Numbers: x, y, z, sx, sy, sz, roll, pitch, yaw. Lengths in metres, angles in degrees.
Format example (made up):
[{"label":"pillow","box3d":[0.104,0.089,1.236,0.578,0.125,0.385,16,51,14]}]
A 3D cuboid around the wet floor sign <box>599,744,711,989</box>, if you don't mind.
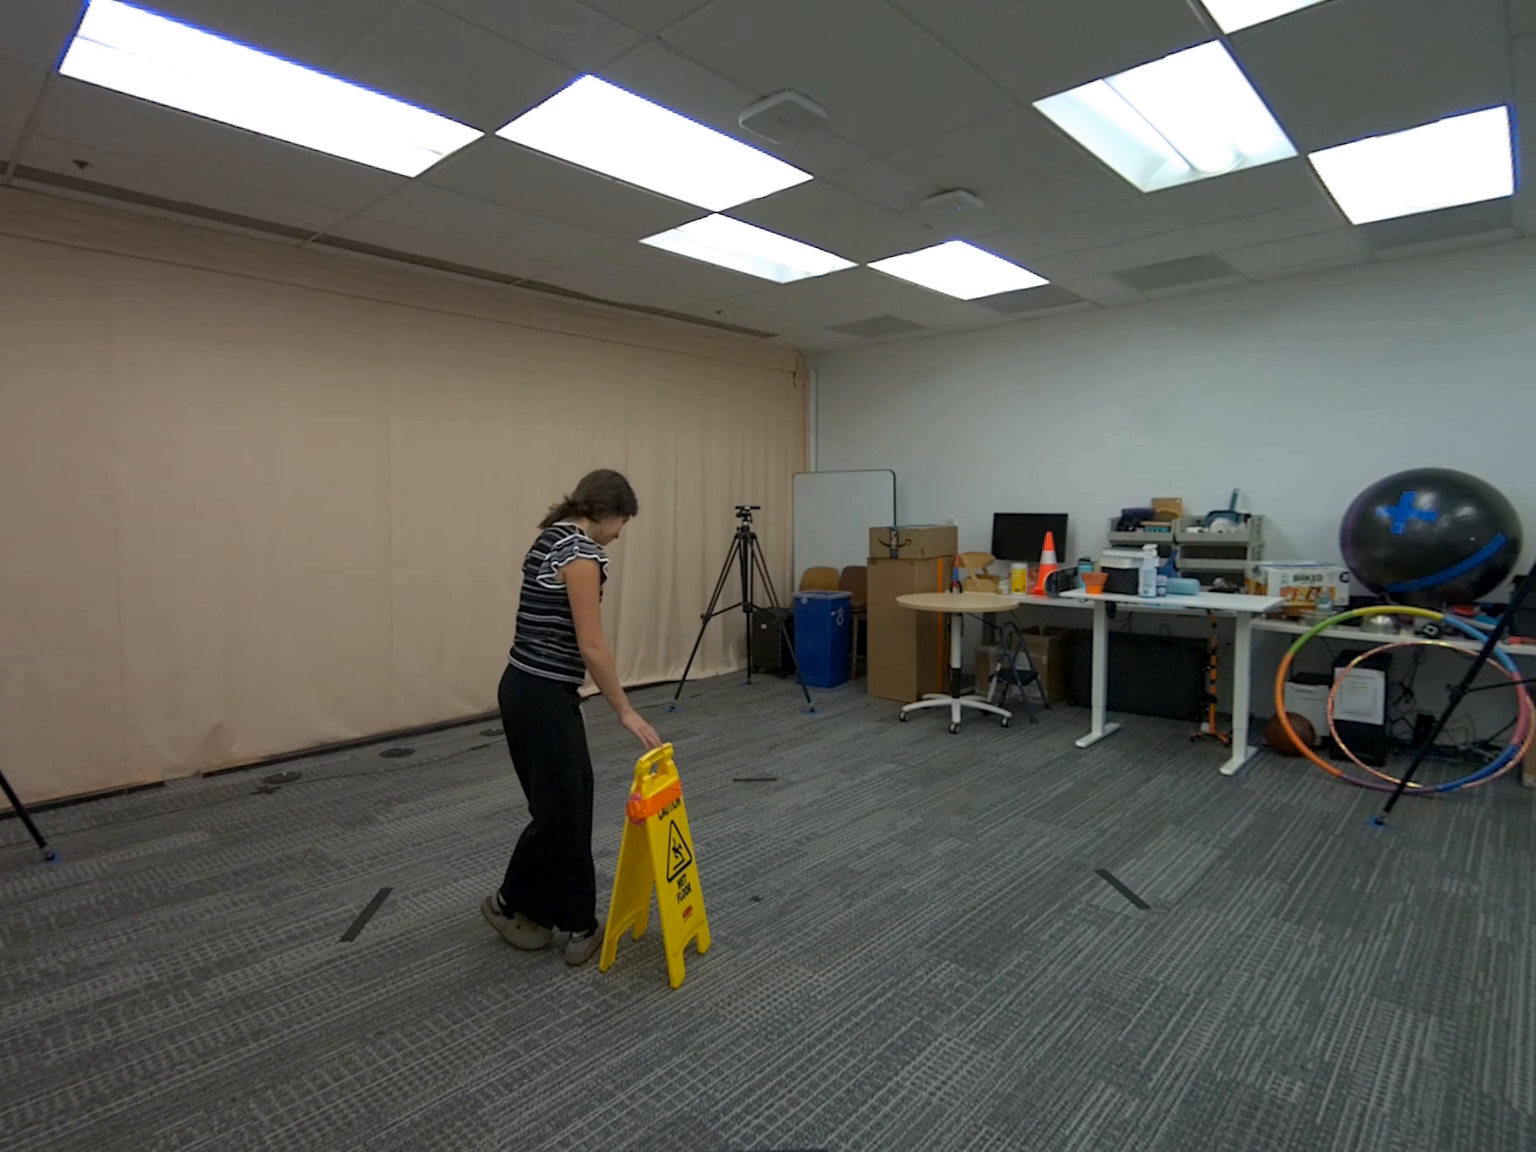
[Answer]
[{"label":"wet floor sign","box3d":[-0.350,0.858,2.574,0.296,0.645,0.276,1,2,20]}]
